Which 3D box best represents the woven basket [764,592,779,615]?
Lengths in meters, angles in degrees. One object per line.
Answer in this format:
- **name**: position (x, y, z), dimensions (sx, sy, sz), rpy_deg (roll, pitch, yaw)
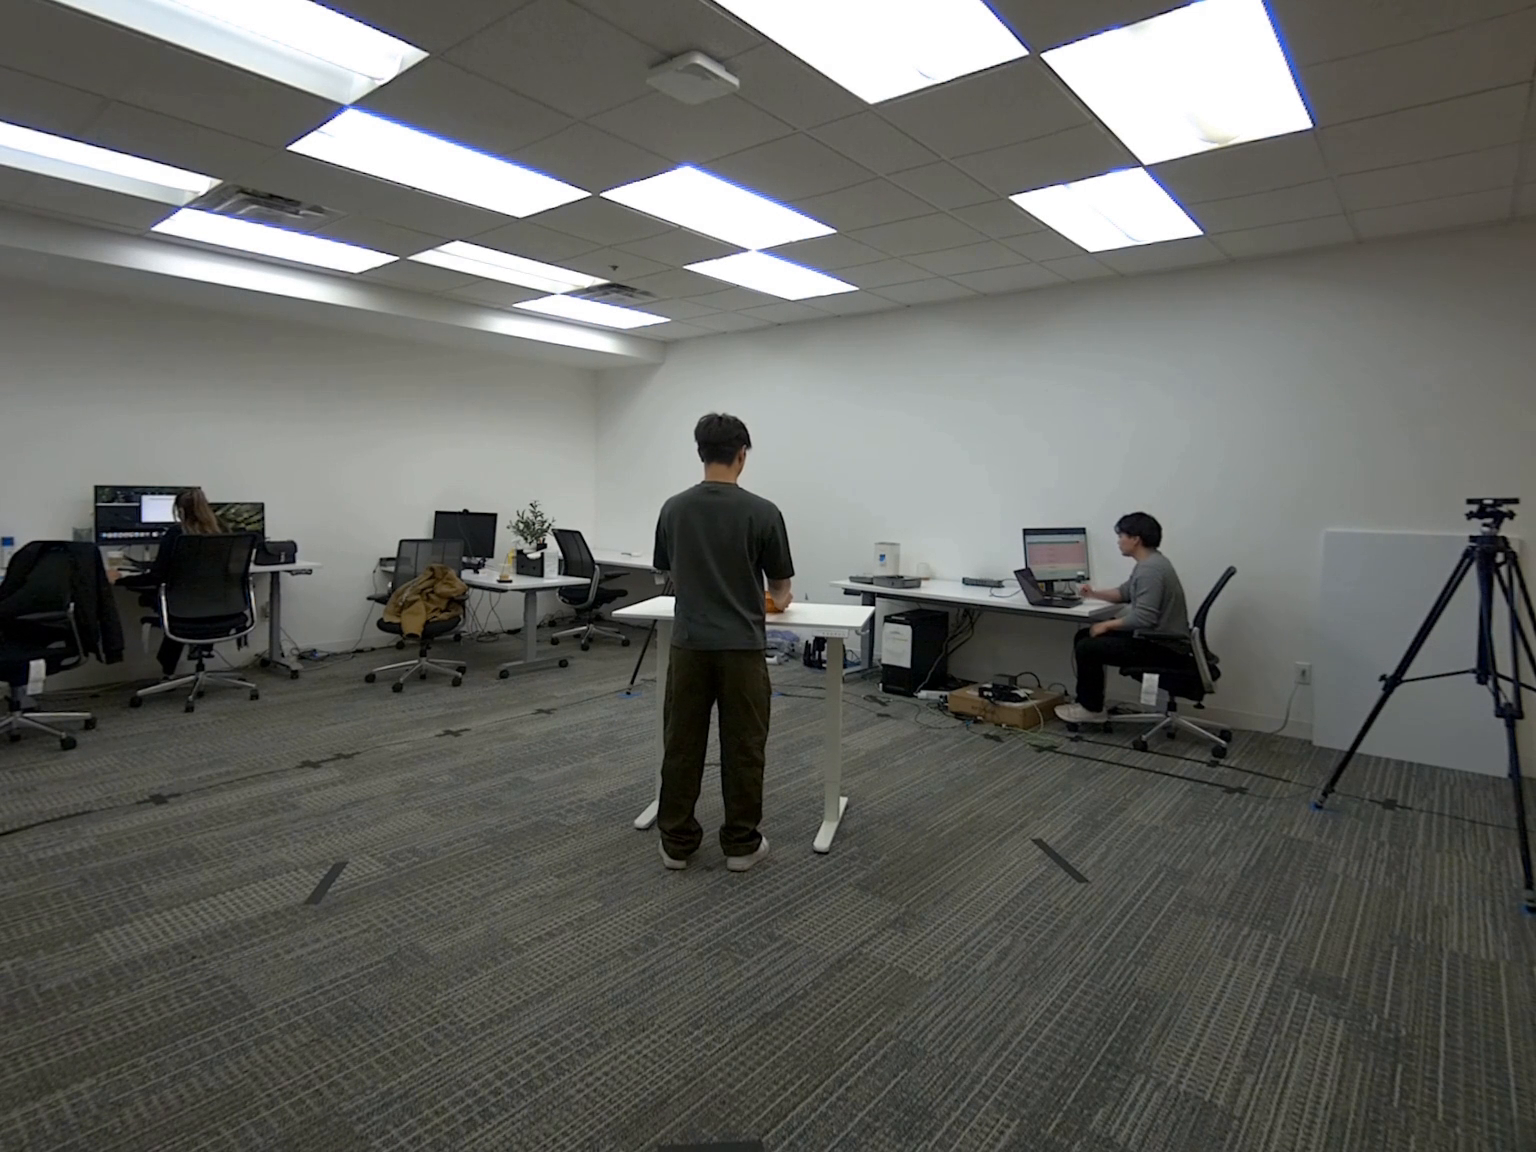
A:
- **woven basket**: position (-0.087, 0.104, 3.580), dimensions (0.359, 0.073, 0.247), rpy_deg (2, 4, 24)
